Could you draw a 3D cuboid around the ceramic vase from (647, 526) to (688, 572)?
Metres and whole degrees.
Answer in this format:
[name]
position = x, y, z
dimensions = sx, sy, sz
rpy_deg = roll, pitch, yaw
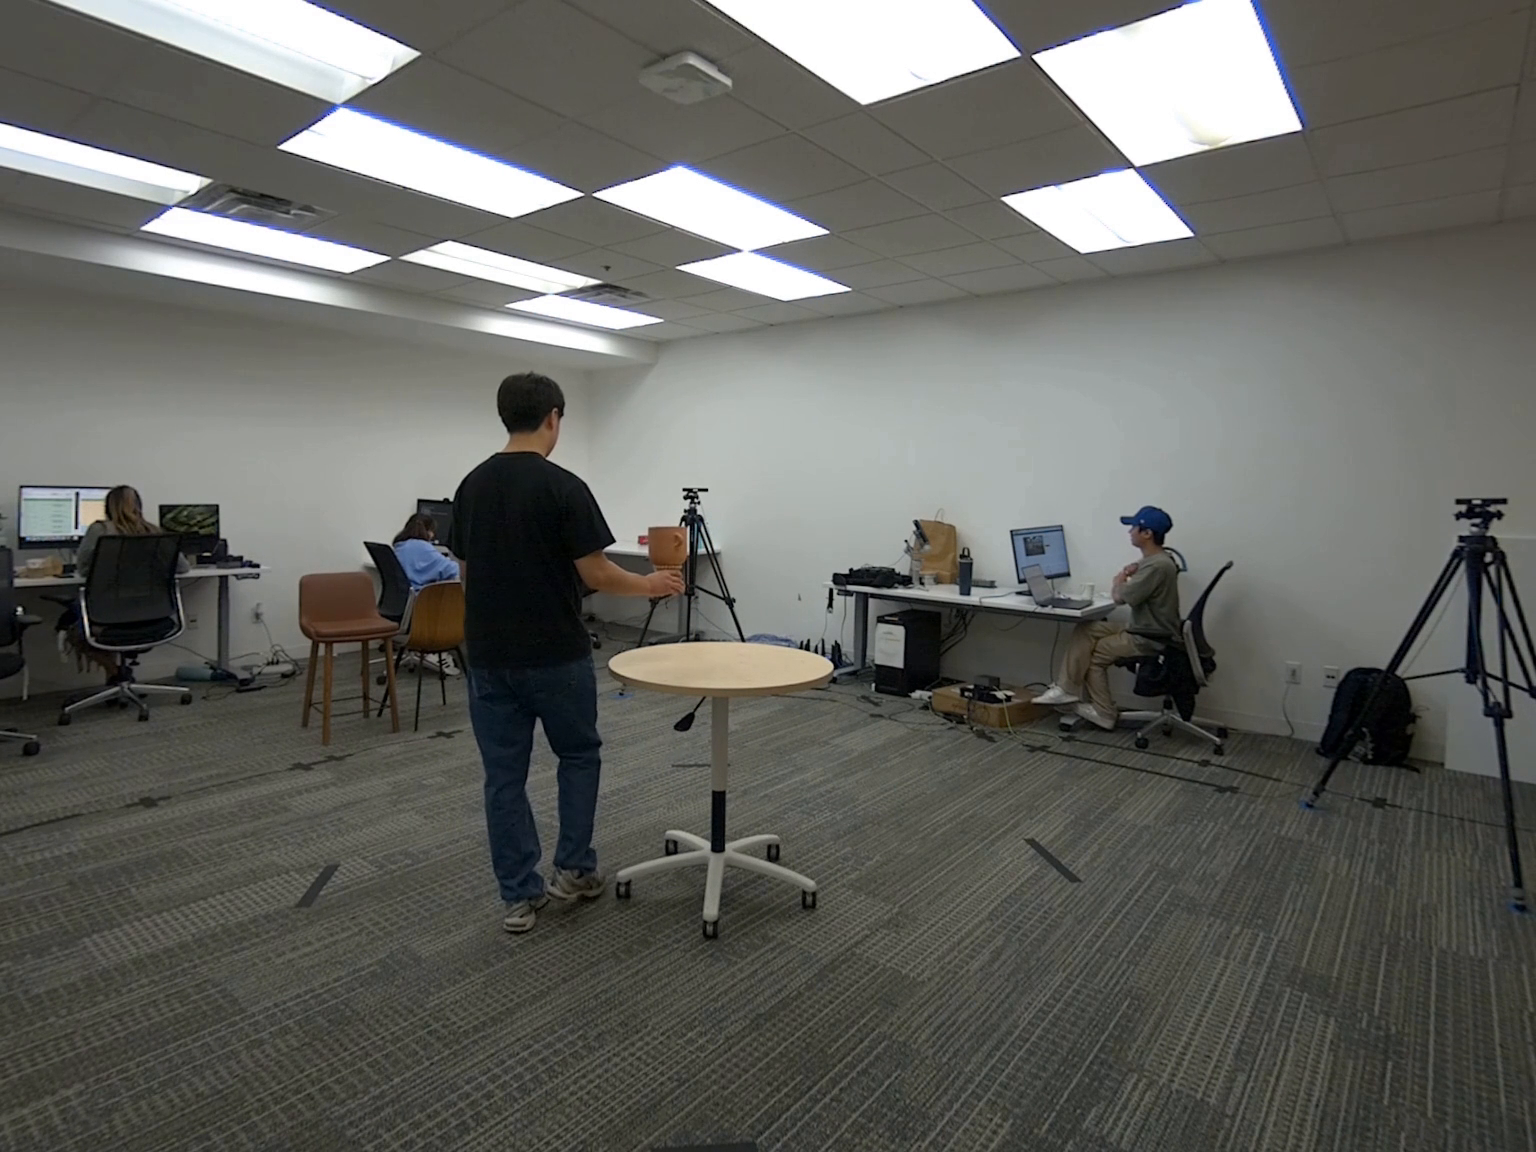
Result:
[ceramic vase]
position = -0.357, -0.060, 2.922
dimensions = 0.135, 0.220, 0.158
rpy_deg = -2, 0, 5
